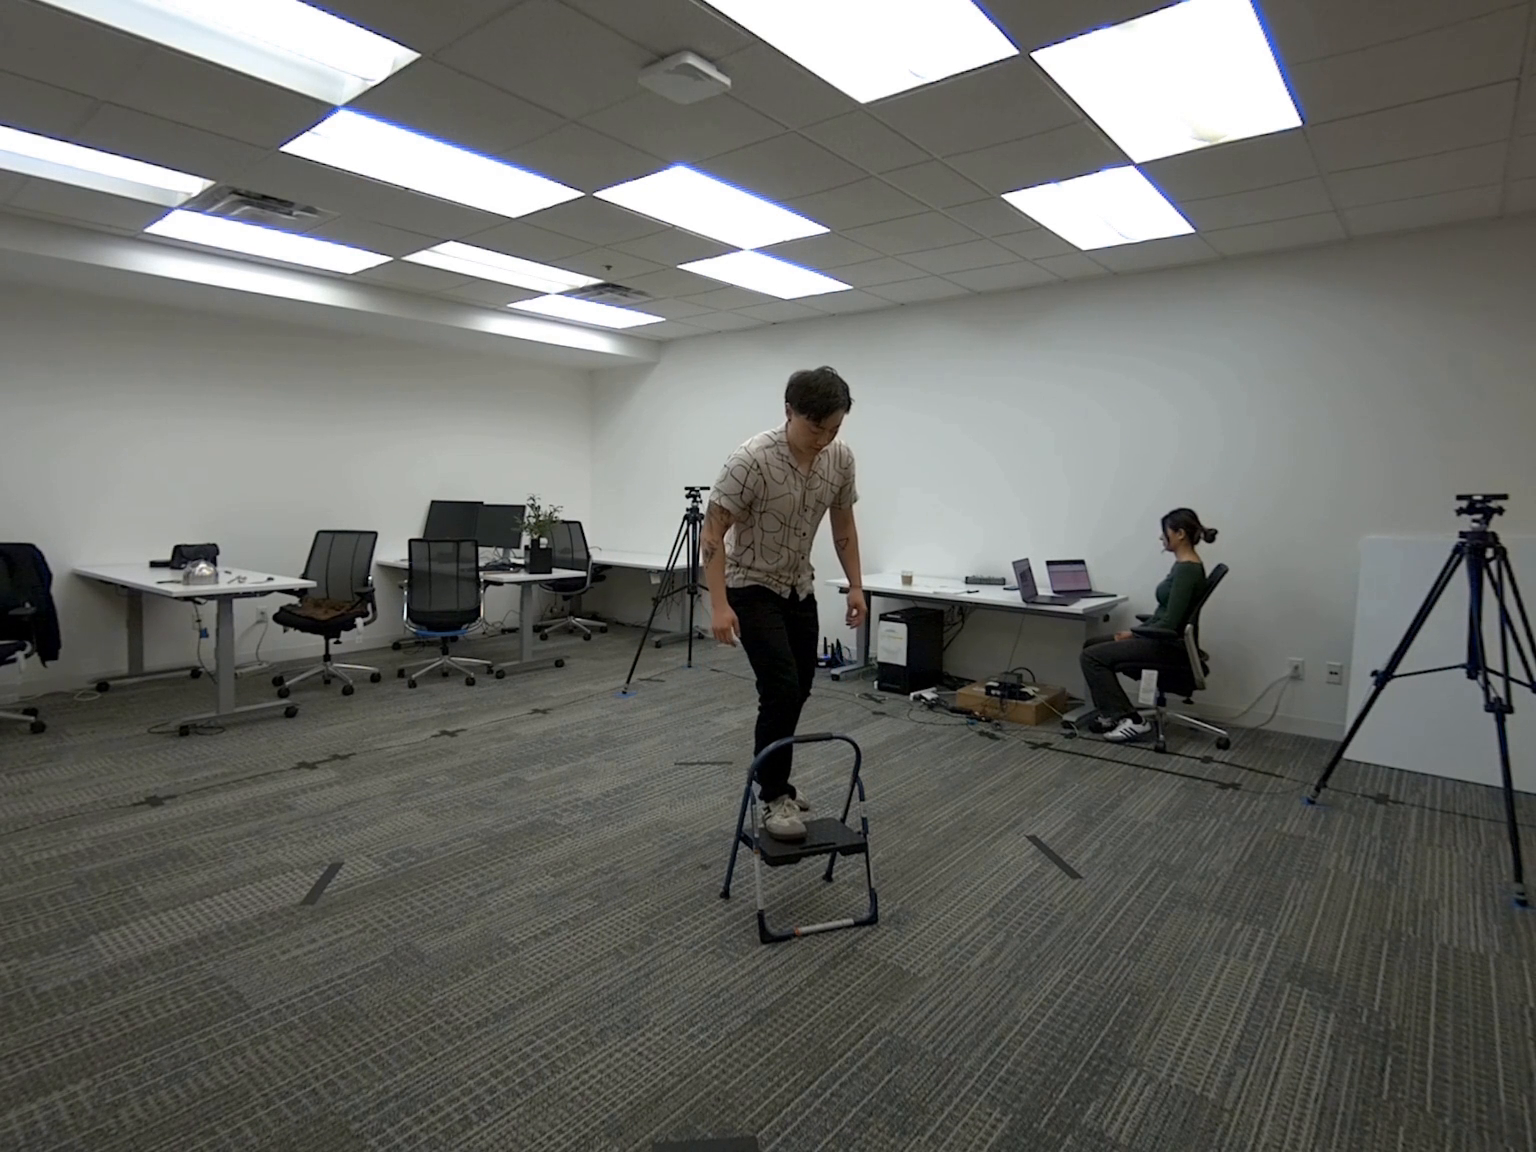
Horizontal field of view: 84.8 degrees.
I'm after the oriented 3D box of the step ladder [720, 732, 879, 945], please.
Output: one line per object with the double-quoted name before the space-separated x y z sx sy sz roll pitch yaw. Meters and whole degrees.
"step ladder" 0.098 0.798 2.802 0.421 0.604 0.358 -1 4 -24
